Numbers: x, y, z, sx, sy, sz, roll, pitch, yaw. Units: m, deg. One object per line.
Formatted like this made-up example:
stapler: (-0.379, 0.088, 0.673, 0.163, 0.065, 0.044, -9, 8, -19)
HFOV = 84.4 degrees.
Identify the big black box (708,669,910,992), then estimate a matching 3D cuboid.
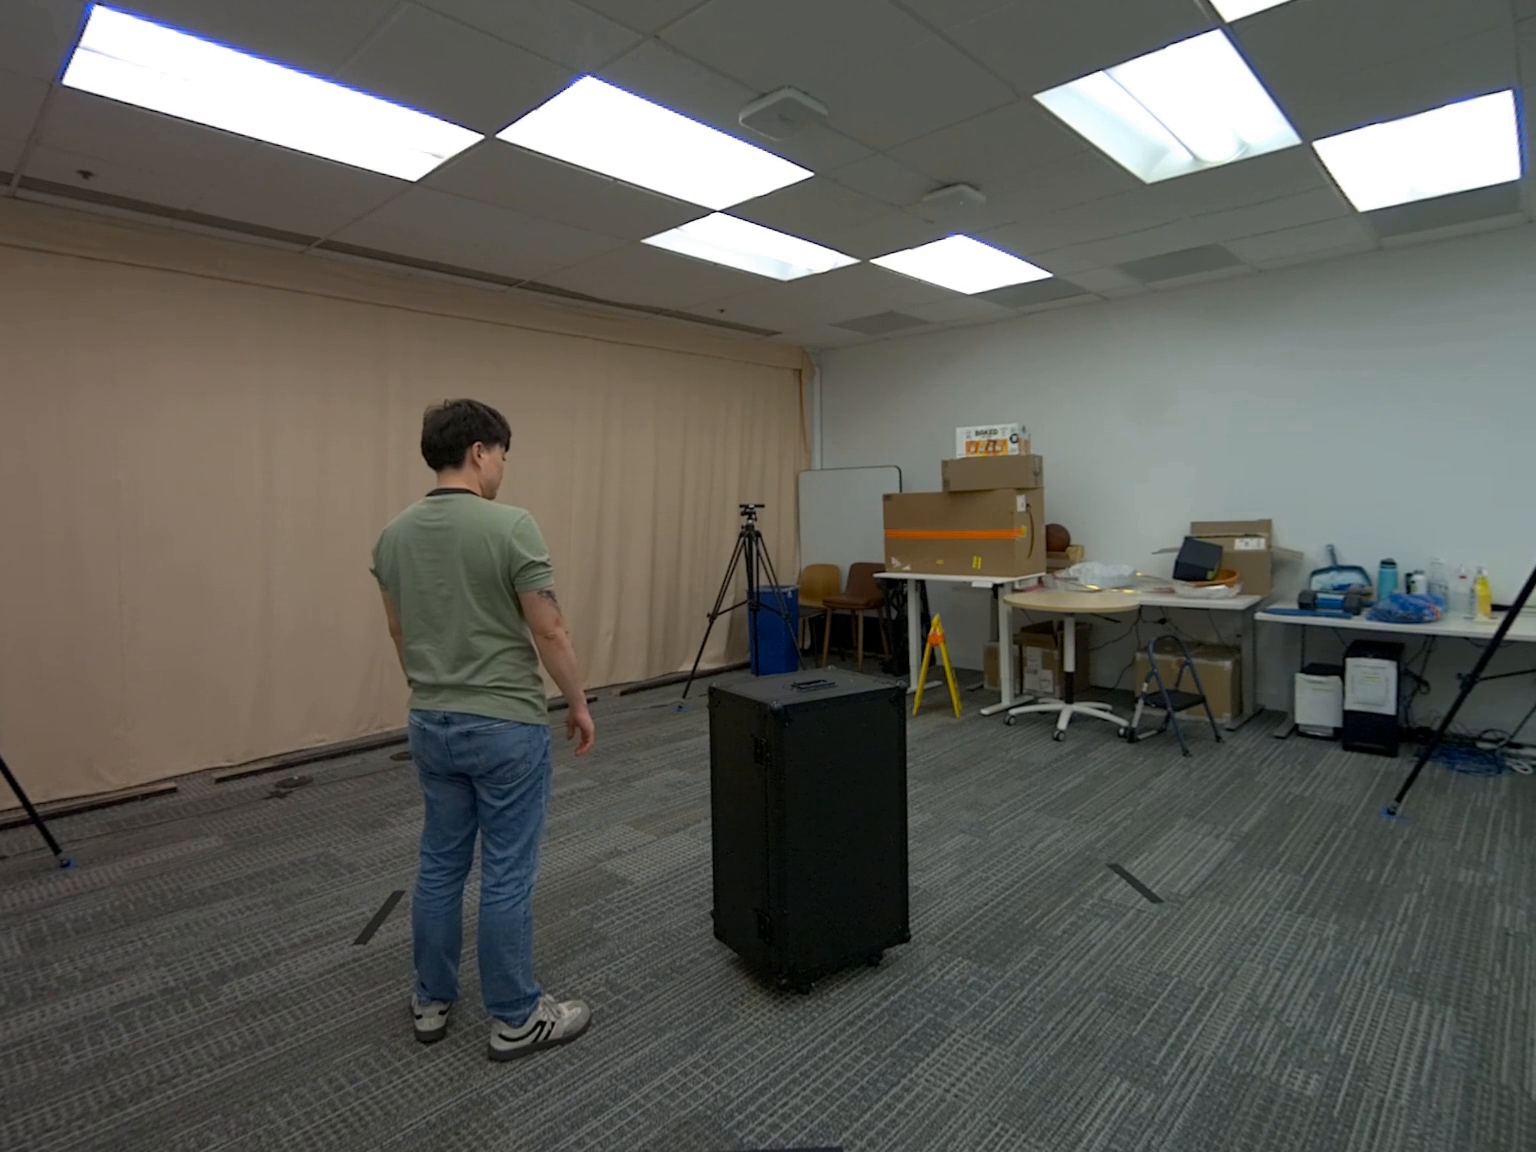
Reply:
big black box: (0.118, 0.750, 2.549, 0.507, 0.860, 0.408, -3, 3, -33)
